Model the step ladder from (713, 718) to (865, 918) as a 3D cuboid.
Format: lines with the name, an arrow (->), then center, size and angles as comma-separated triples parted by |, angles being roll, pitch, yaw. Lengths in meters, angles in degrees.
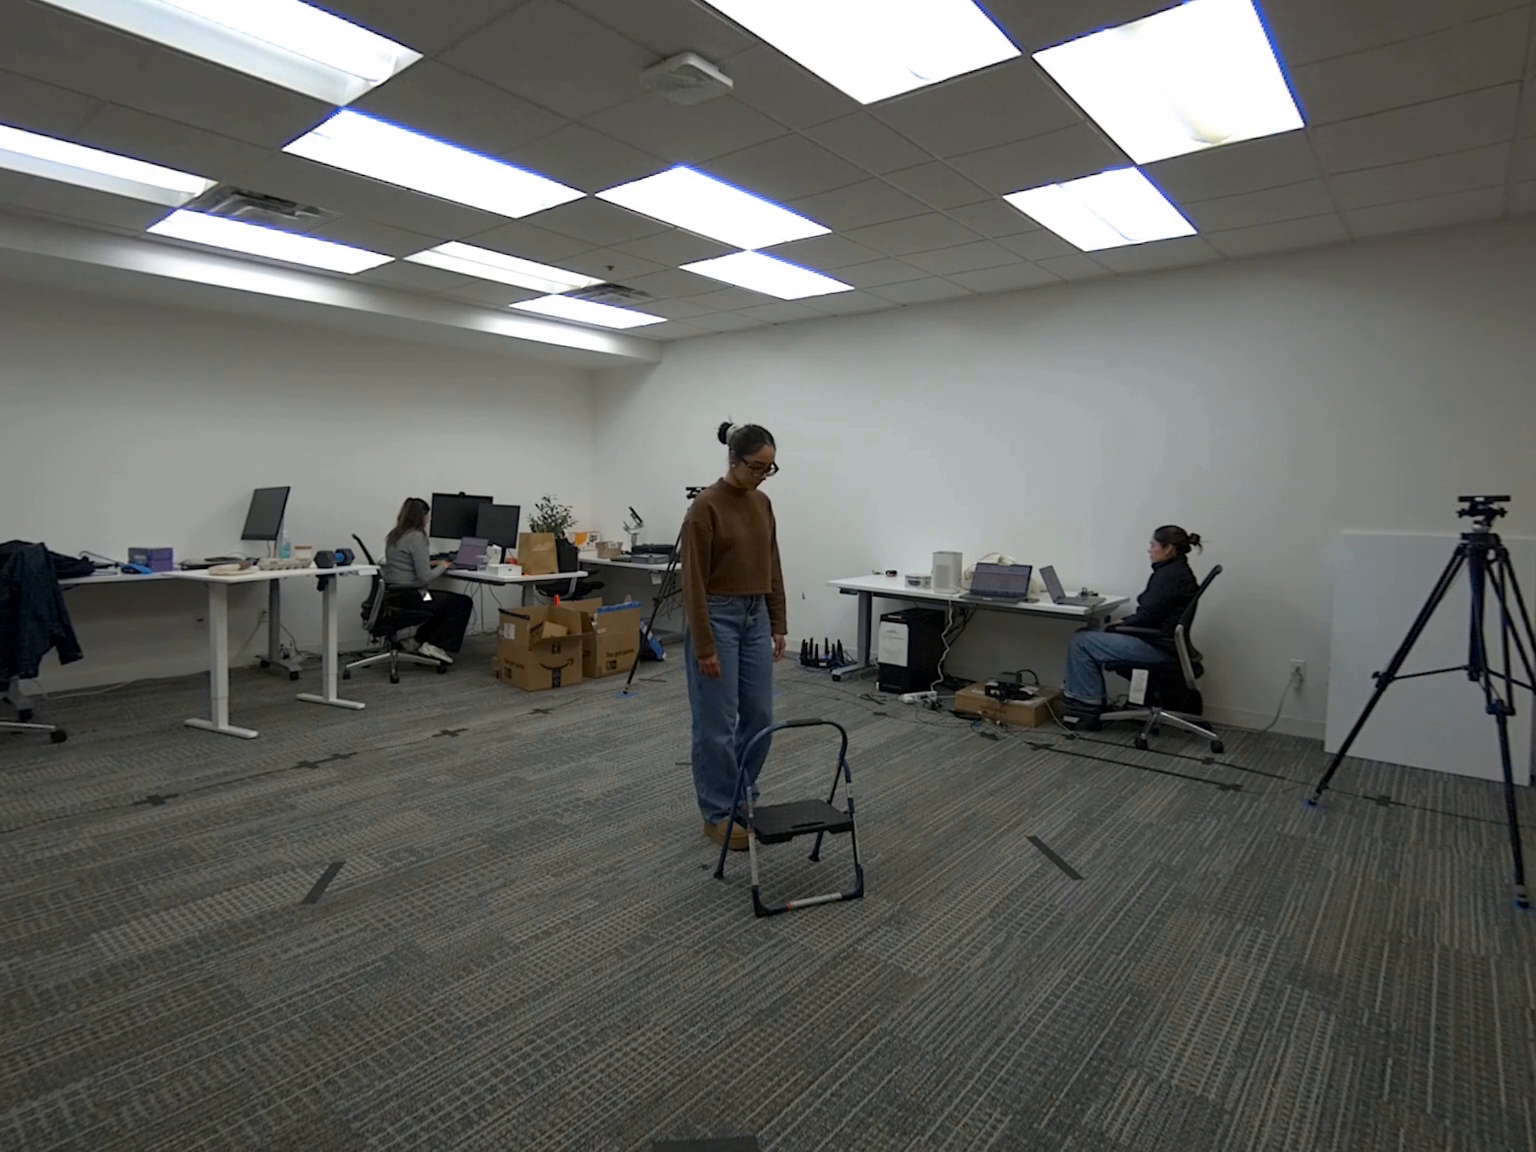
step ladder -> 0.069, 0.780, 2.976 | 0.420, 0.605, 0.359 | 0, 3, -26
